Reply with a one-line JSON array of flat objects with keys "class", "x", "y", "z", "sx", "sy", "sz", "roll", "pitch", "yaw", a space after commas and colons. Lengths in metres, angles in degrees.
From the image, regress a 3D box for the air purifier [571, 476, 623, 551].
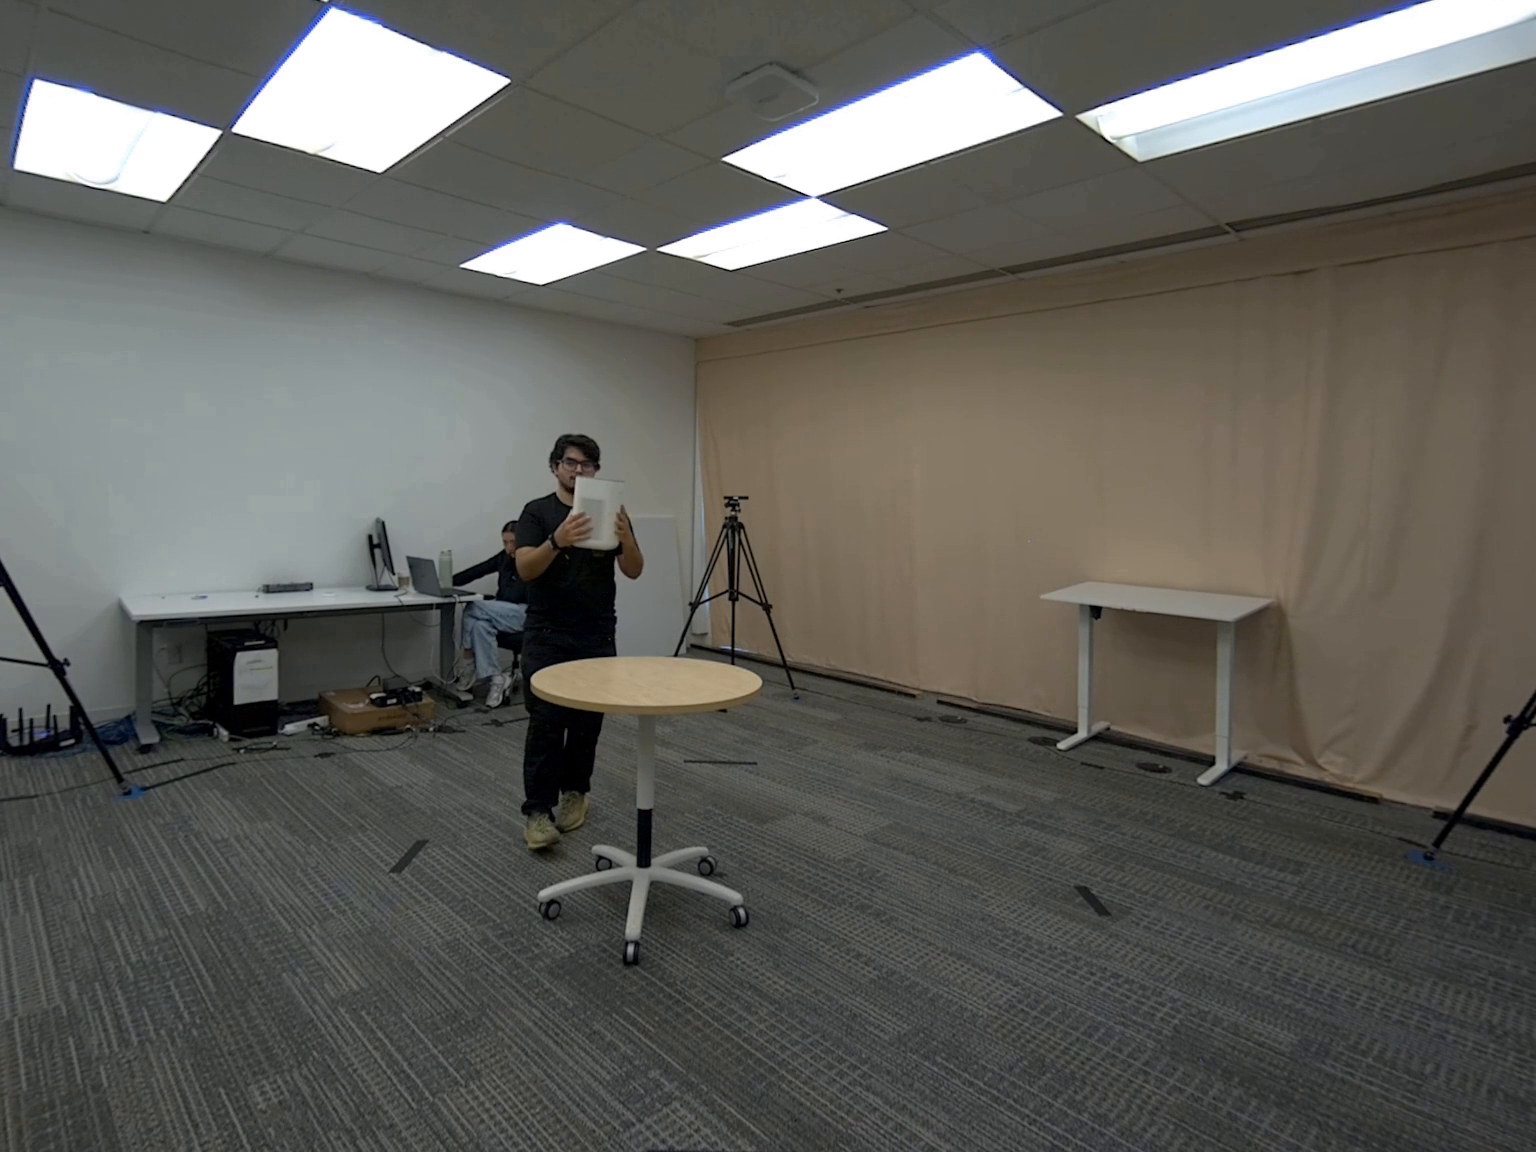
[{"class": "air purifier", "x": -0.665, "y": -0.240, "z": 3.189, "sx": 0.173, "sy": 0.264, "sz": 0.170, "roll": 8, "pitch": 5, "yaw": 7}]
